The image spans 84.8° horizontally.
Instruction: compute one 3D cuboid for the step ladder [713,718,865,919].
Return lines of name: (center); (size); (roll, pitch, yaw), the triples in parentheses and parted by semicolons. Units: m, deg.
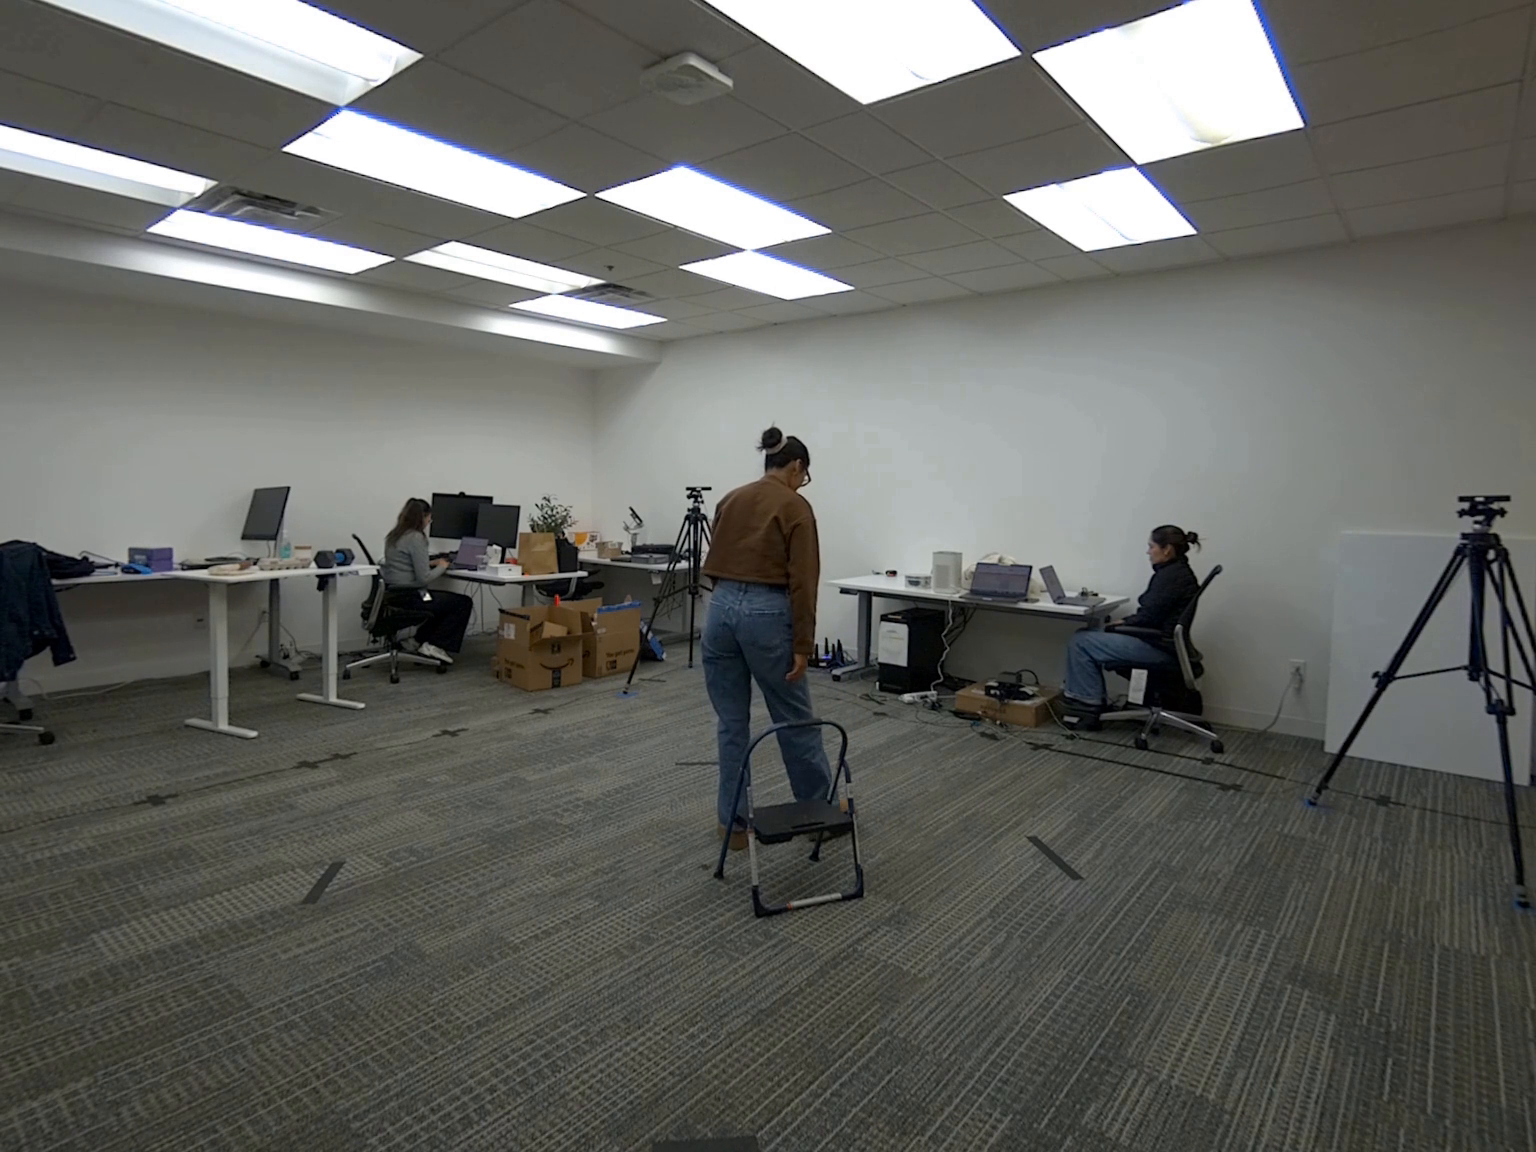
step ladder: (0.070, 0.783, 2.973); (0.420, 0.604, 0.359); (-1, 4, -26)
